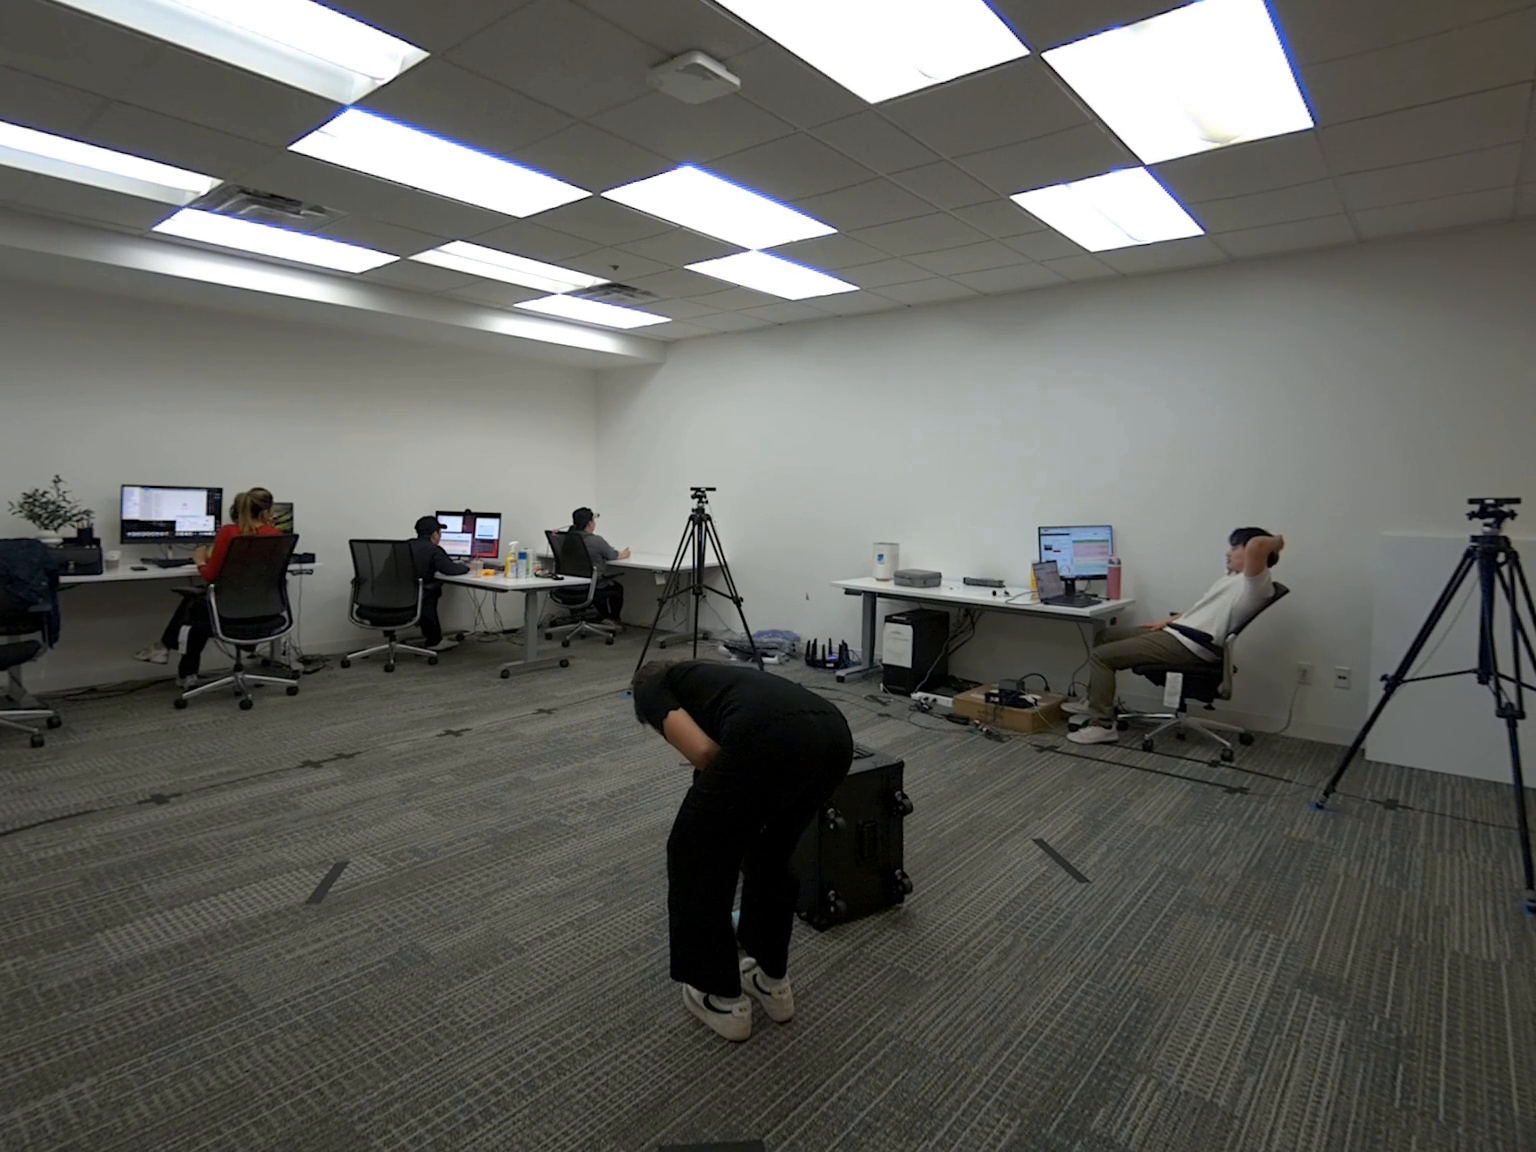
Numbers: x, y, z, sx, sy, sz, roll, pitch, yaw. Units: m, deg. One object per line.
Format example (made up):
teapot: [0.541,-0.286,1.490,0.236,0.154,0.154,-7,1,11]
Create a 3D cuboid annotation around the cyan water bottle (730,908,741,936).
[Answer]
cyan water bottle: [-0.147,1.059,2.569,0.275,0.092,0.095,-4,6,-36]
